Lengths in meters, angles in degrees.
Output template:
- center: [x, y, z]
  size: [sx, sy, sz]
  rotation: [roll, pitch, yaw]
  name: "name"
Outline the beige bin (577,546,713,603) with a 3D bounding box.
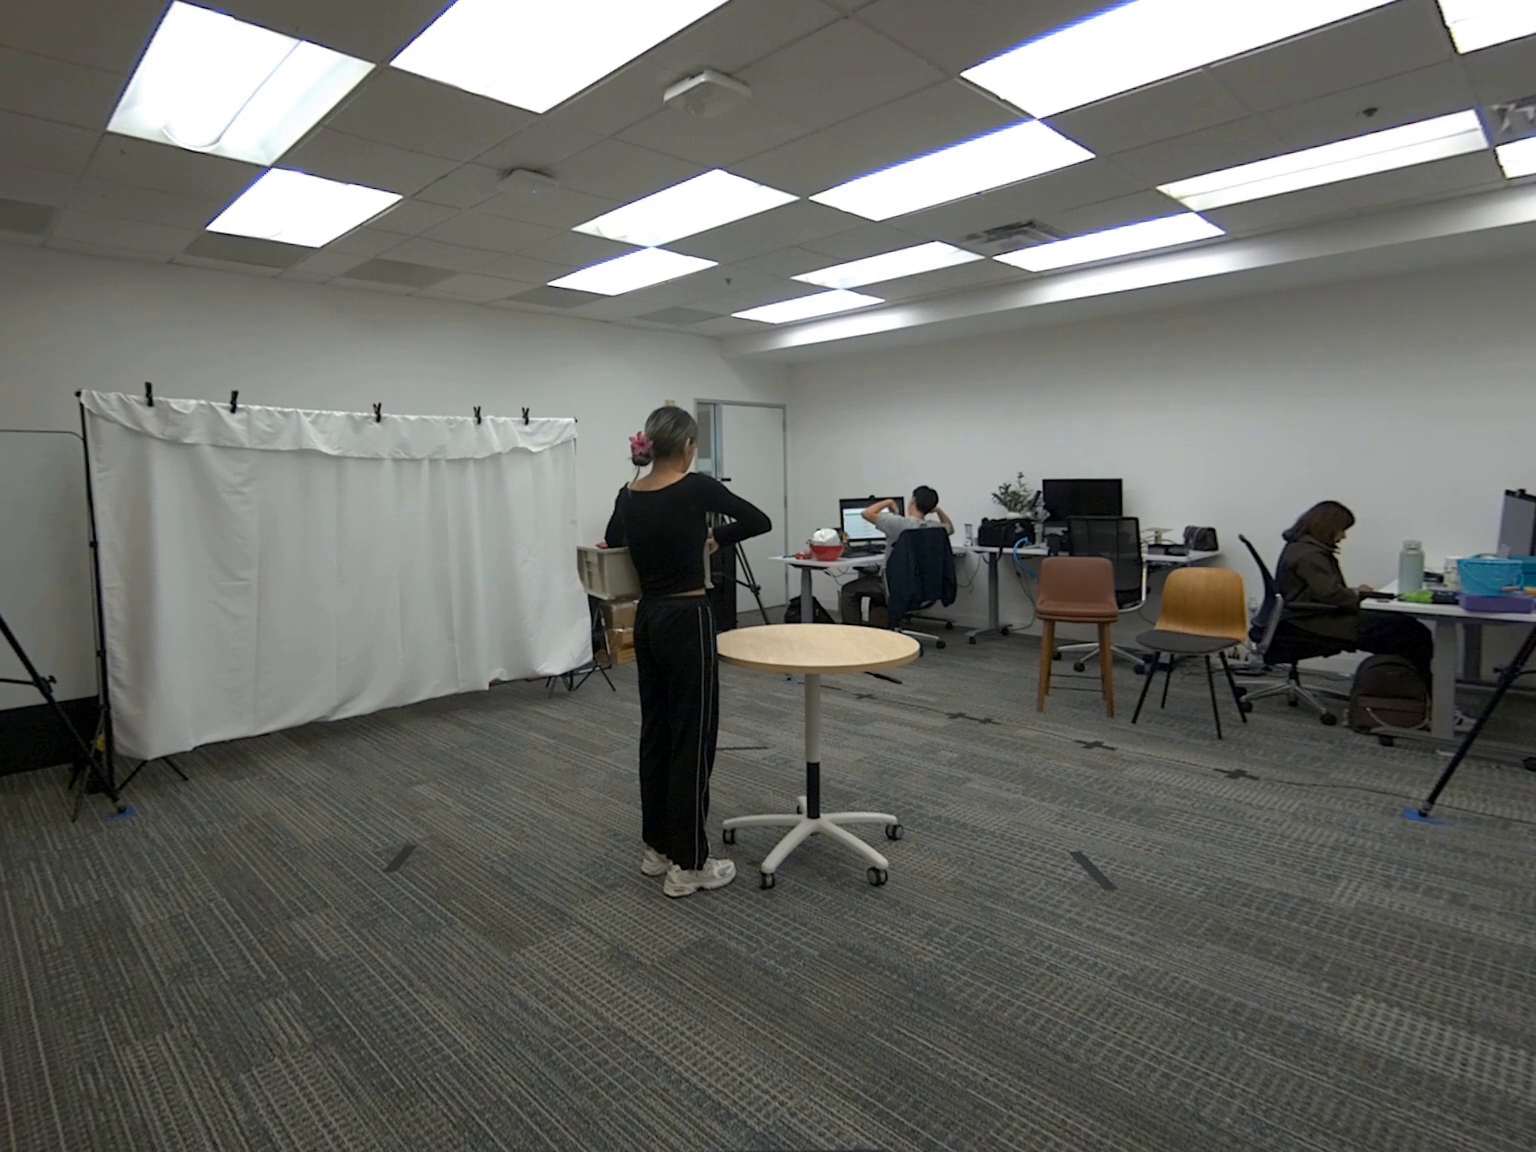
- center: [-0.472, -0.037, 3.235]
  size: [0.414, 0.188, 0.387]
  rotation: [-7, 8, -23]
  name: "beige bin"
